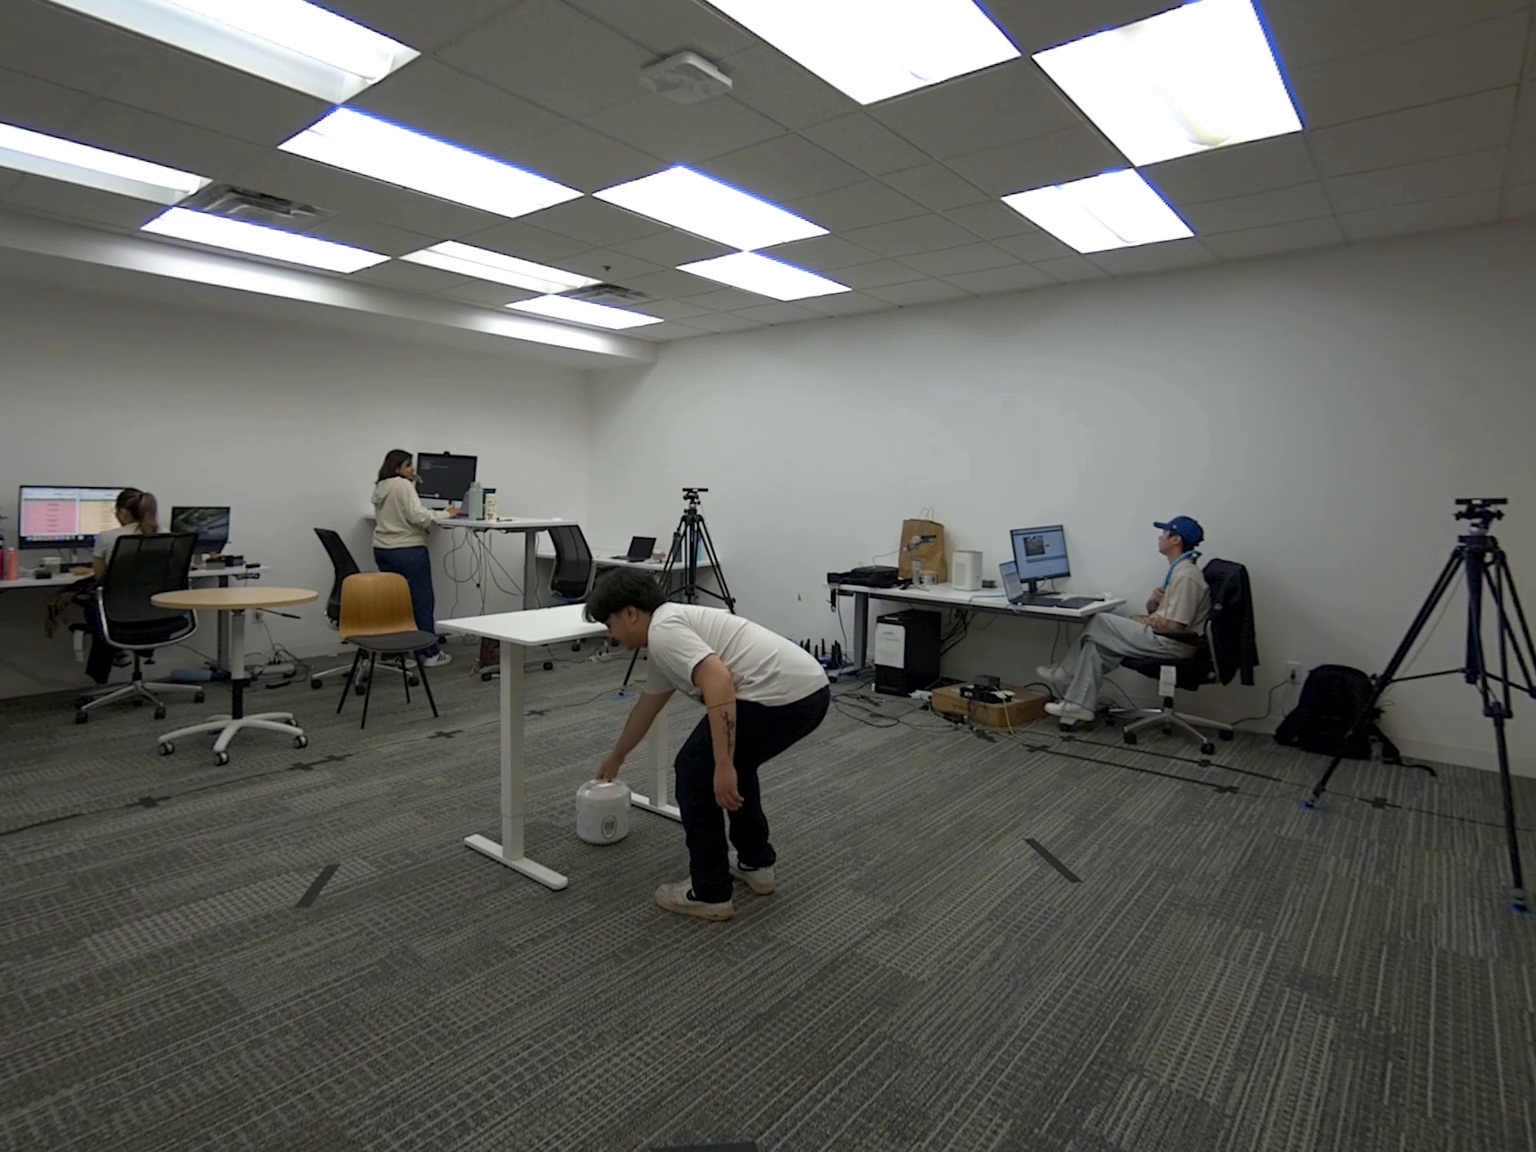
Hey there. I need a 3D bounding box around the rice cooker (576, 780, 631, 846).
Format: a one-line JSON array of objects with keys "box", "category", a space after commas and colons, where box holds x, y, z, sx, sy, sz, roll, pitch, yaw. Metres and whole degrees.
[{"box": [-0.664, 0.918, 3.375, 0.216, 0.232, 0.223, -1, 4, -22], "category": "rice cooker"}]
